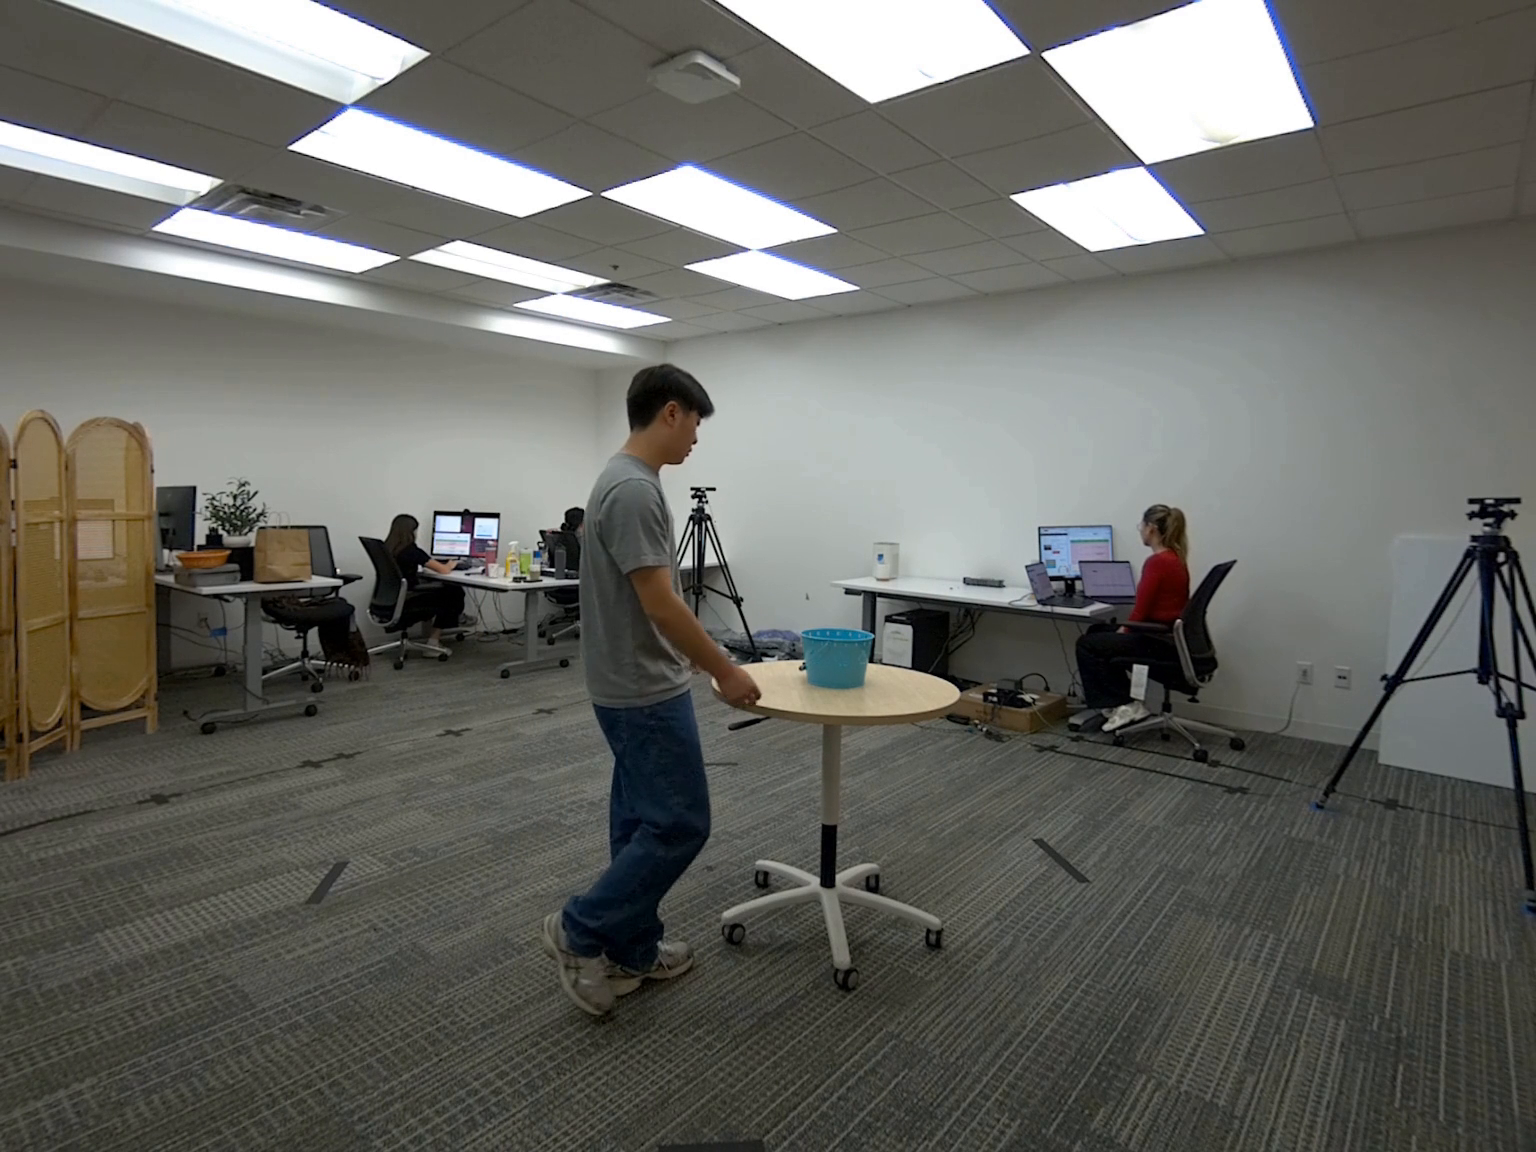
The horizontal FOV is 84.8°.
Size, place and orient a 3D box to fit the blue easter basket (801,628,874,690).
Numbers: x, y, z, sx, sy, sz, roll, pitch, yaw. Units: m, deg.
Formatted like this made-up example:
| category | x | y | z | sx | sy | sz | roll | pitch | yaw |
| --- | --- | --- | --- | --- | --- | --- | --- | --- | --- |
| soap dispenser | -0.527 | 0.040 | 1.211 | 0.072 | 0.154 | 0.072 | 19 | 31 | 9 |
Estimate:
| category | x | y | z | sx | sy | sz | roll | pitch | yaw |
| --- | --- | --- | --- | --- | --- | --- | --- | --- | --- |
| blue easter basket | 0.212 | 0.260 | 2.700 | 0.243 | 0.155 | 0.245 | 3 | 5 | -2 |
